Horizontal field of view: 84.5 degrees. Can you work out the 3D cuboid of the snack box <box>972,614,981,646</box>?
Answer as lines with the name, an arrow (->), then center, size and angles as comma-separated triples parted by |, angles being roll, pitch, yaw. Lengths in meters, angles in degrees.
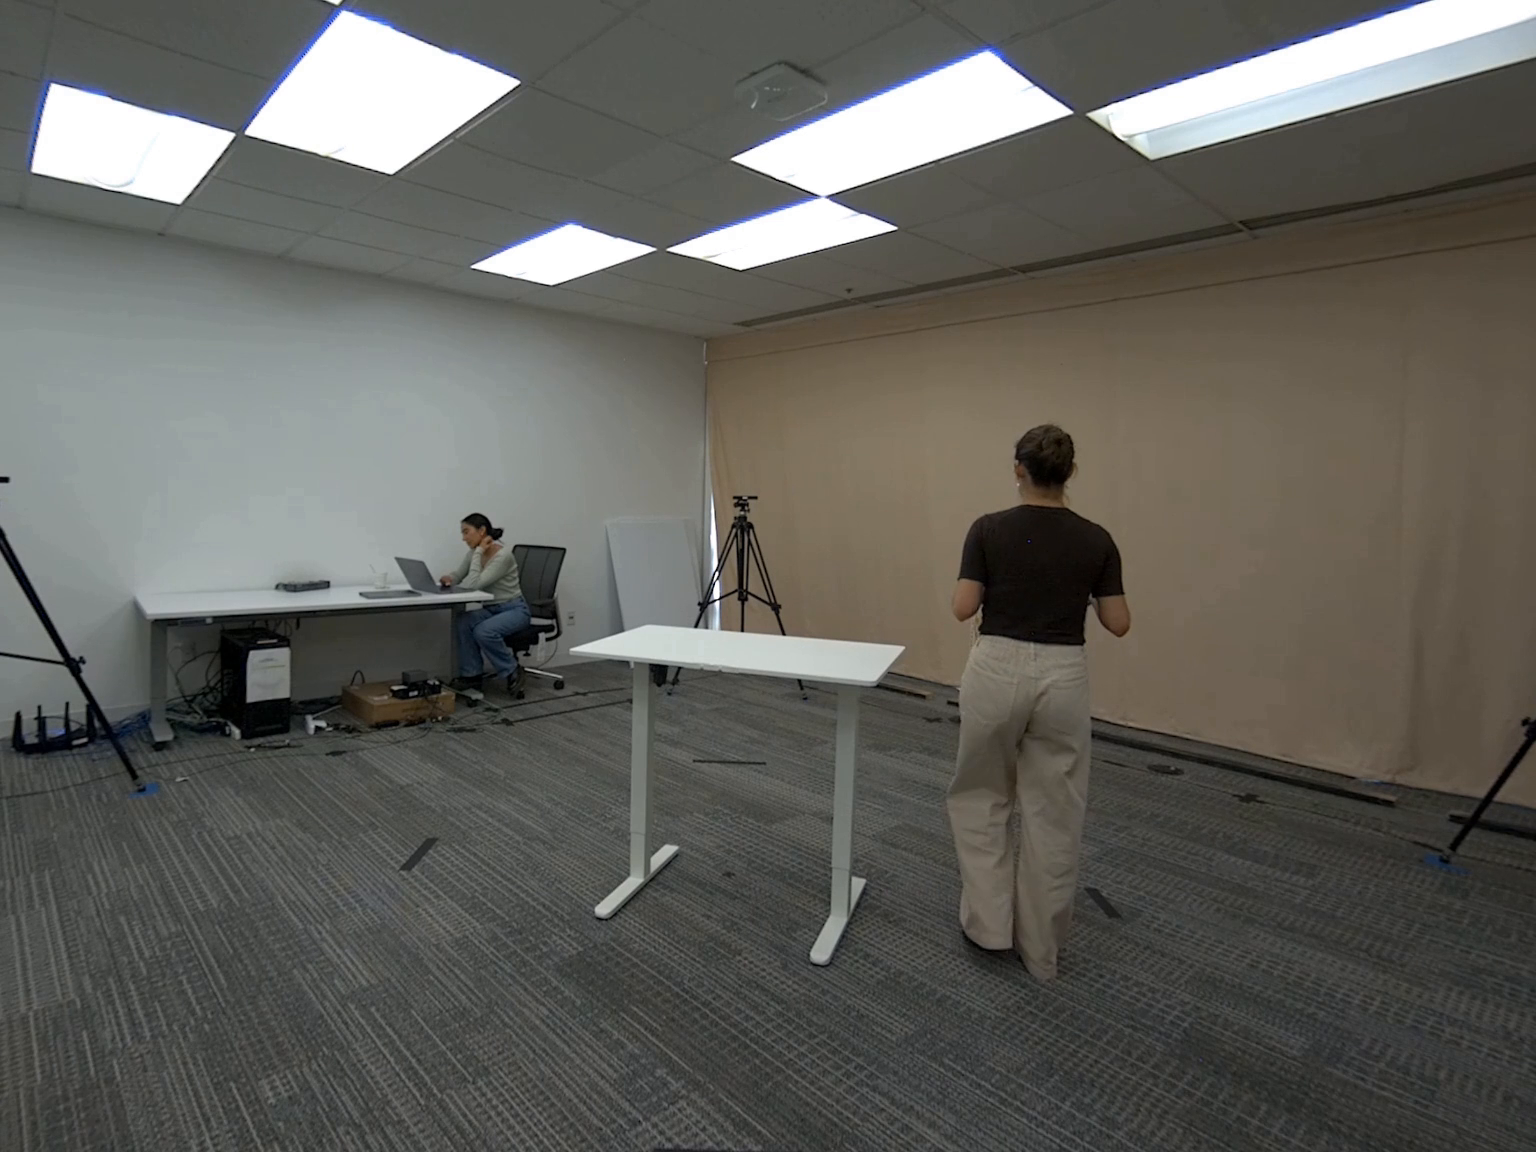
snack box -> 0.876, 0.212, 2.840 | 0.343, 0.403, 0.205 | 4, 6, 9
